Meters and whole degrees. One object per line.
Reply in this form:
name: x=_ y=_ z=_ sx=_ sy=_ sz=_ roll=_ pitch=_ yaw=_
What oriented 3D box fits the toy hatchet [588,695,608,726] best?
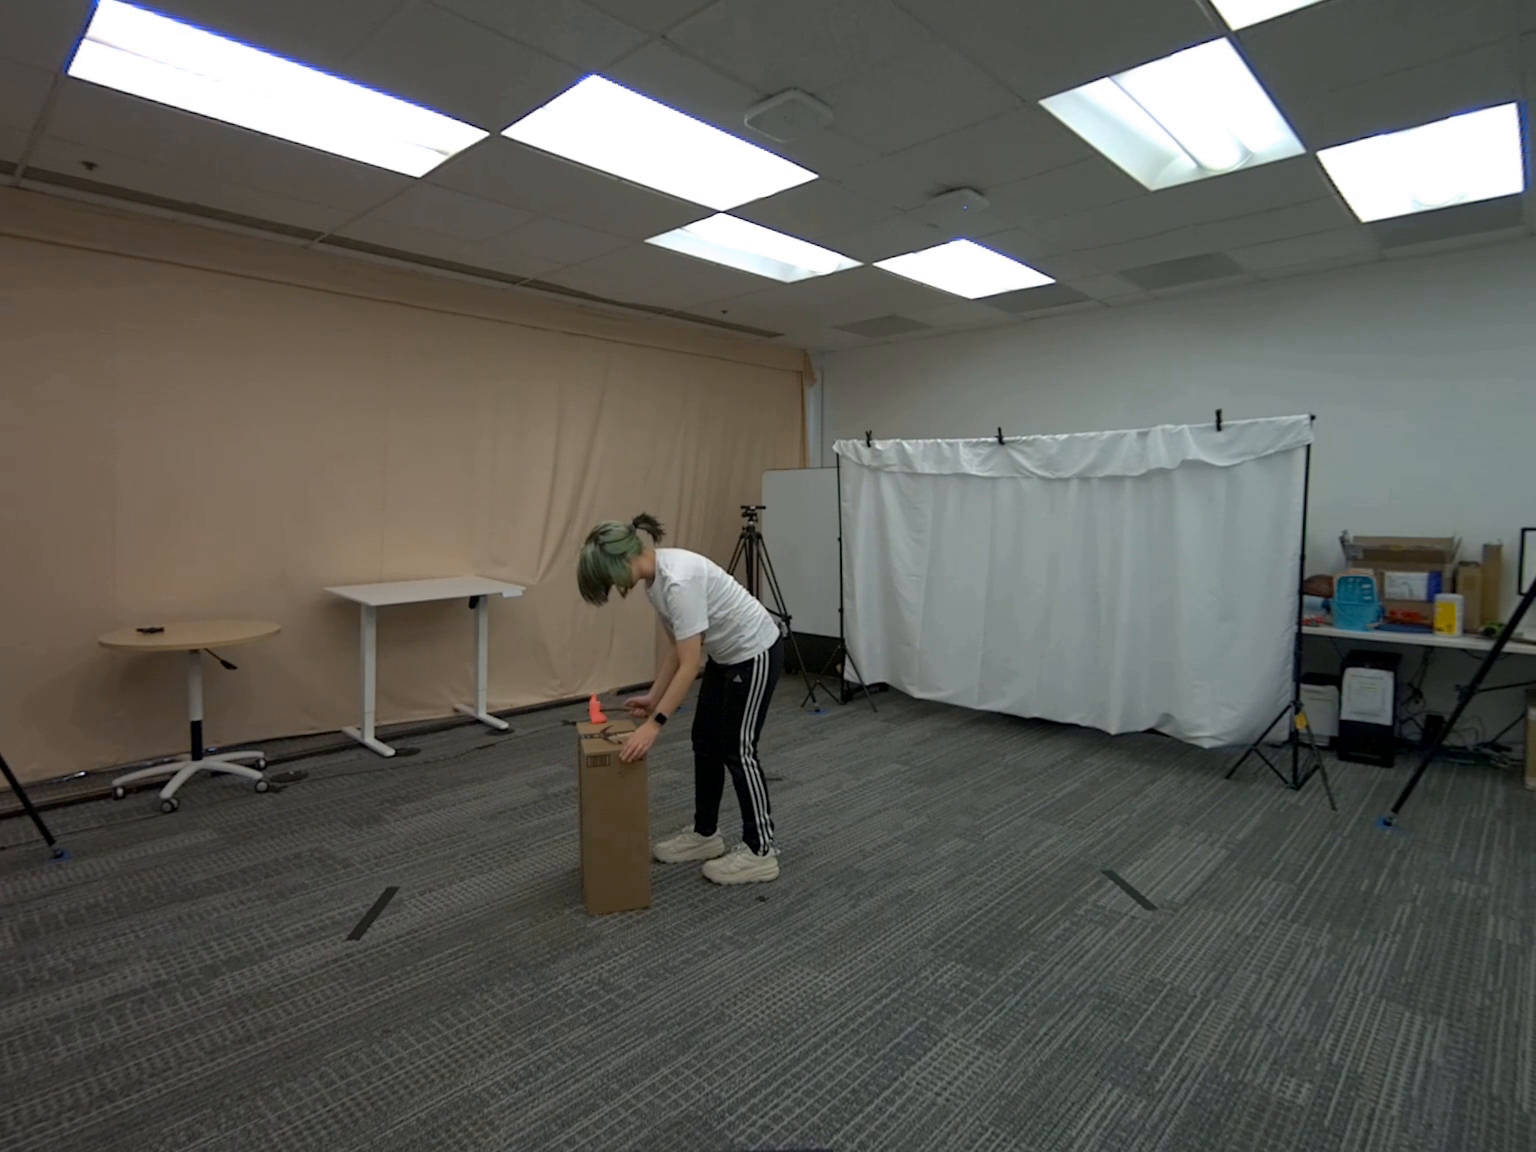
toy hatchet: x=-0.571 y=0.545 z=3.226 sx=0.273 sy=0.029 sz=0.131 roll=15 pitch=44 yaw=10
